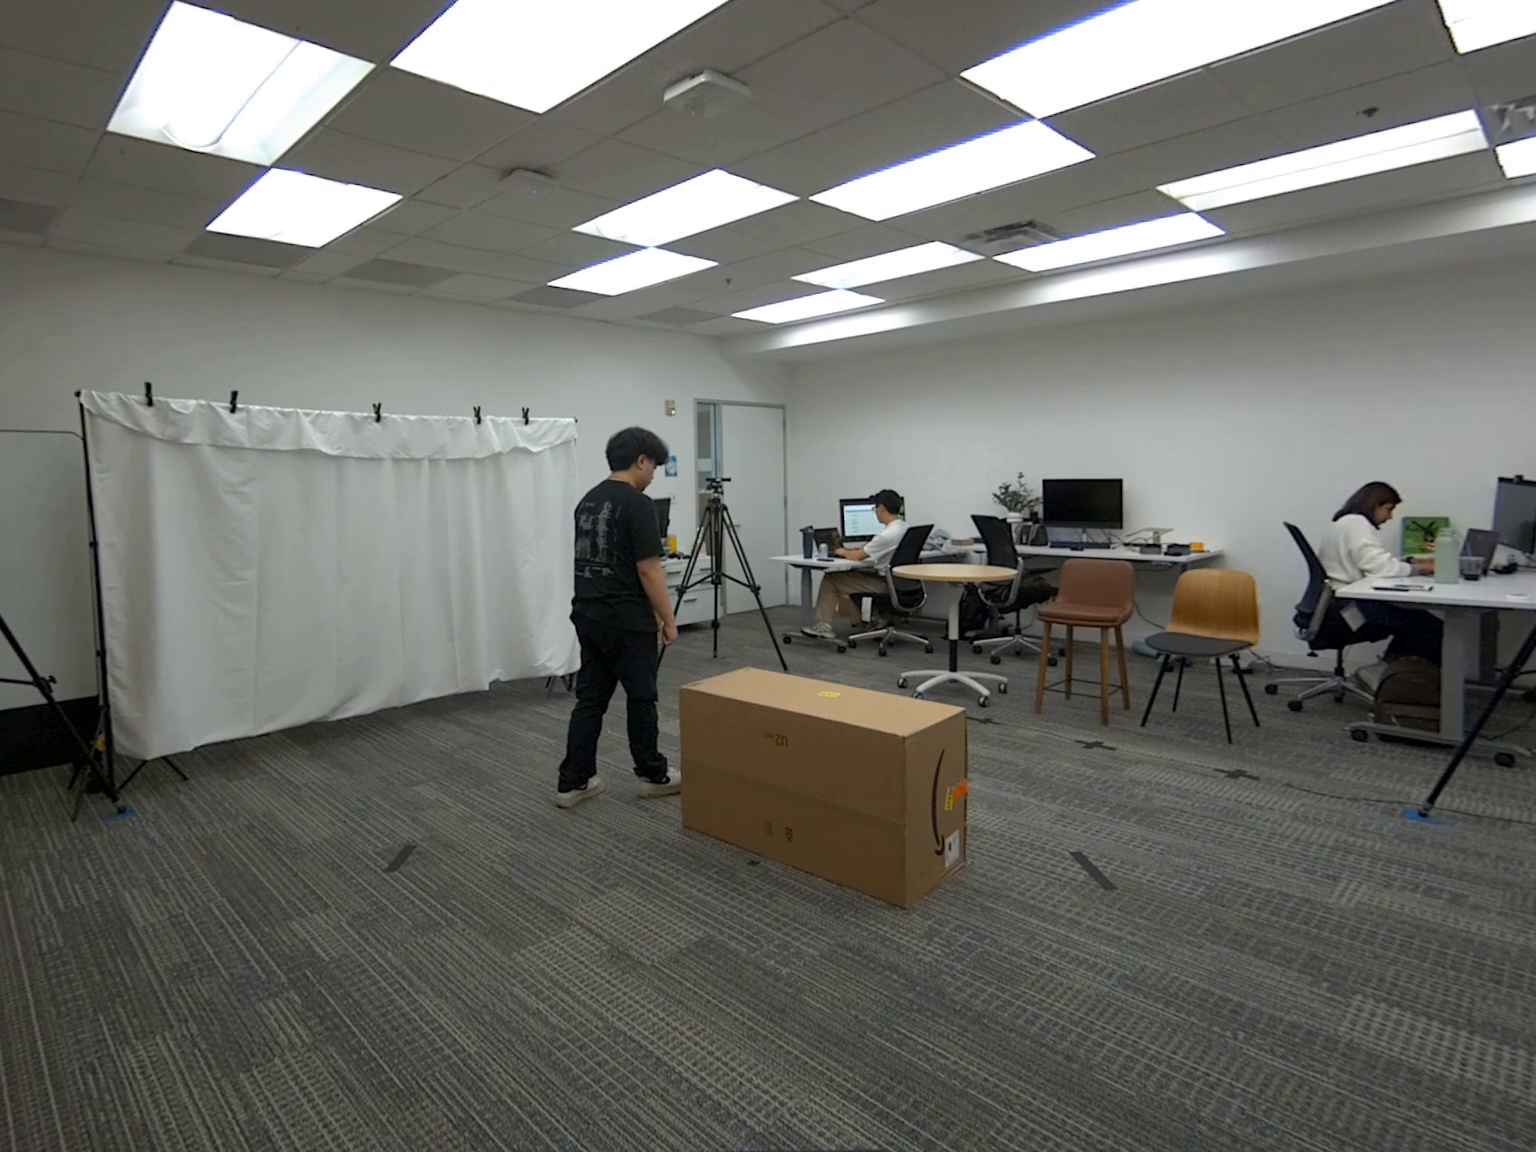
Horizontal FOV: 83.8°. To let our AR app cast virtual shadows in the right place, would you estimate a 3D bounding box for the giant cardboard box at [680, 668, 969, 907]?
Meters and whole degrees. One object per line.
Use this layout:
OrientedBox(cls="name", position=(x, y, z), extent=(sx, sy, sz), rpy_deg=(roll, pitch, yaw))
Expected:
OrientedBox(cls="giant cardboard box", position=(0.184, 0.739, 3.225), extent=(1.059, 0.582, 0.435), rpy_deg=(5, 6, 40))
